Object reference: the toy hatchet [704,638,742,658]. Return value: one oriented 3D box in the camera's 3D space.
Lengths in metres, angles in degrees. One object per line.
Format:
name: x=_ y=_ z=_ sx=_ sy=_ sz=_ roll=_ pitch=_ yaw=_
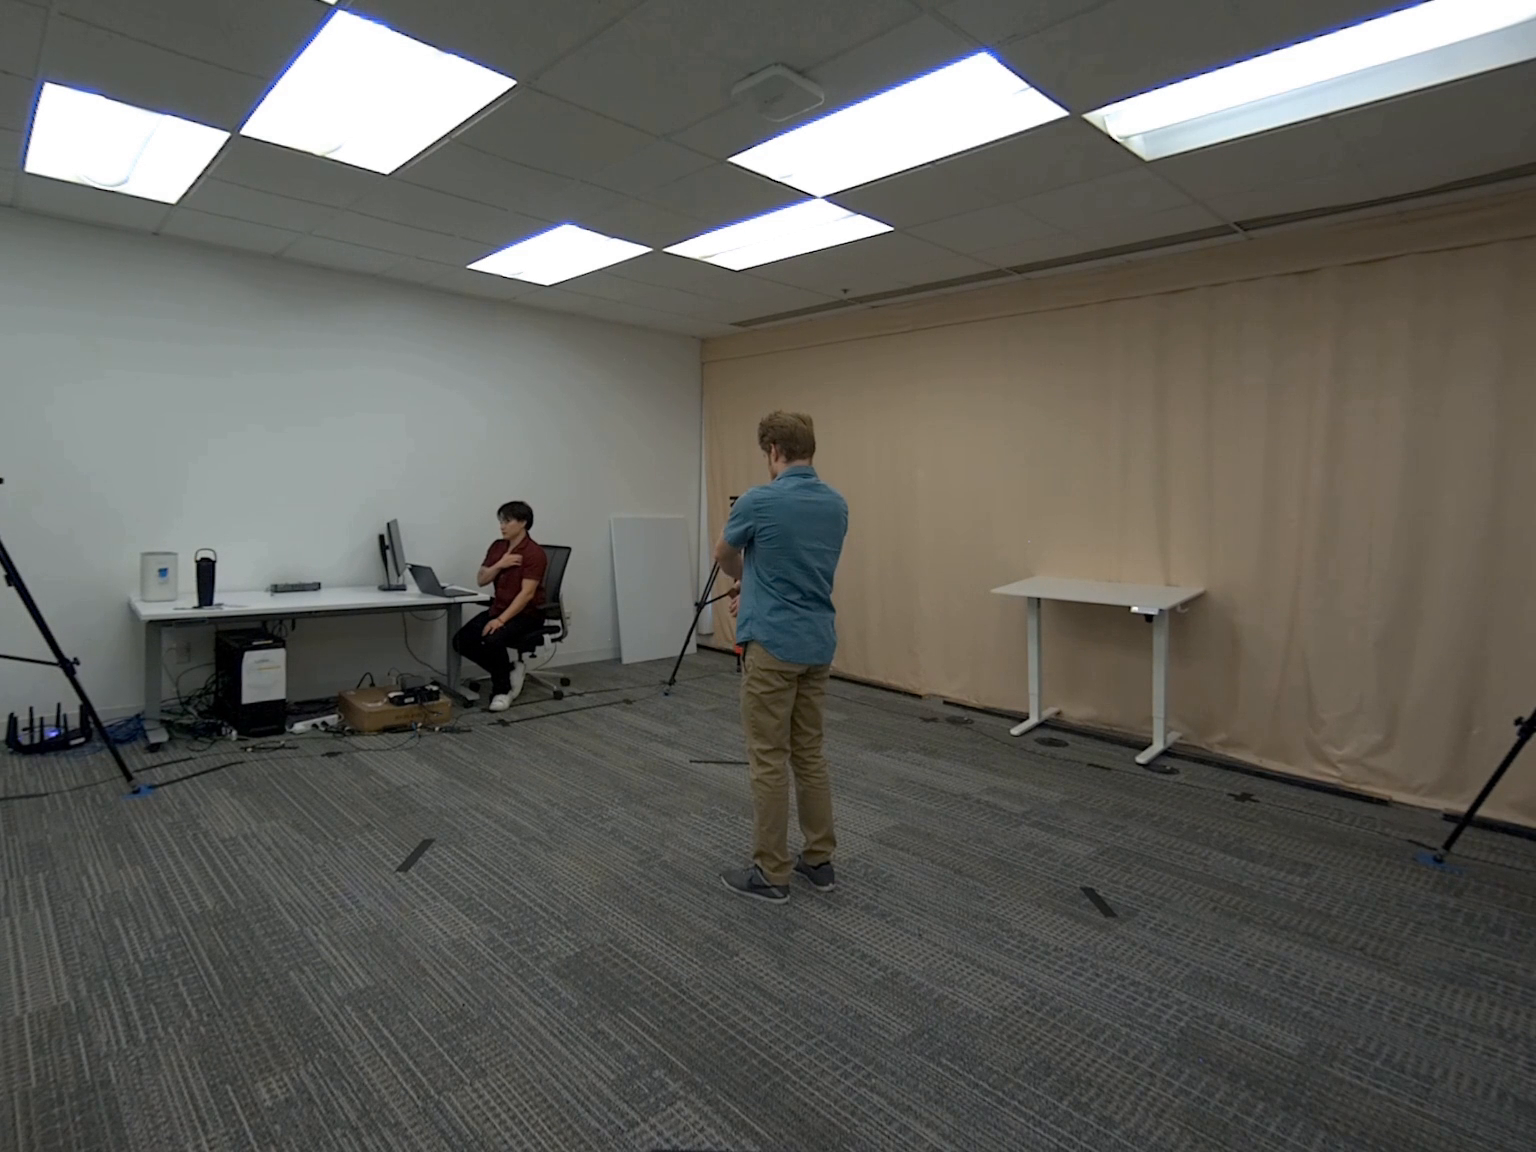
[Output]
toy hatchet: x=-0.114 y=0.270 z=3.180 sx=0.133 sy=0.030 sz=0.263 roll=-12 pitch=-15 yaw=25
